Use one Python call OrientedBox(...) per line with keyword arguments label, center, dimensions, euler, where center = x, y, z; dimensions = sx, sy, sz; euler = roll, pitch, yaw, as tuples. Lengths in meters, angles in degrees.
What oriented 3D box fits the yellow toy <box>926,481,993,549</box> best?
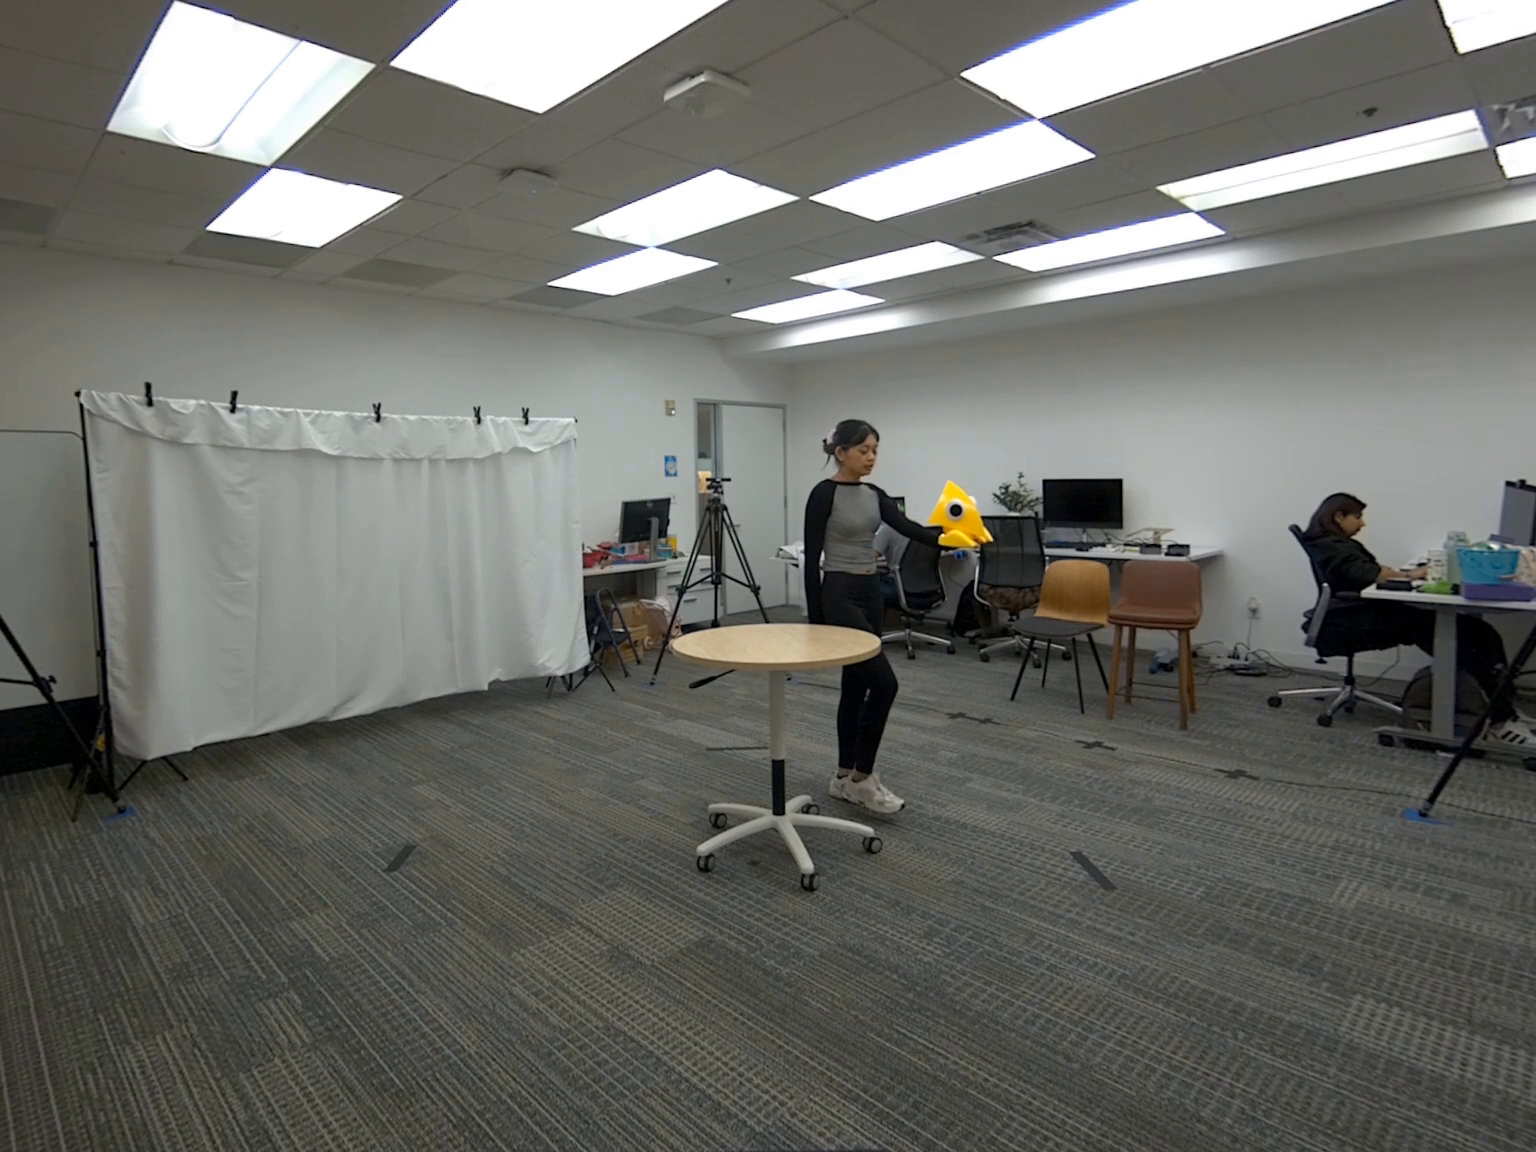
OrientedBox(label="yellow toy", center=(0.738, -0.246, 3.226), dimensions=(0.199, 0.229, 0.200), euler=(7, 13, 44))
